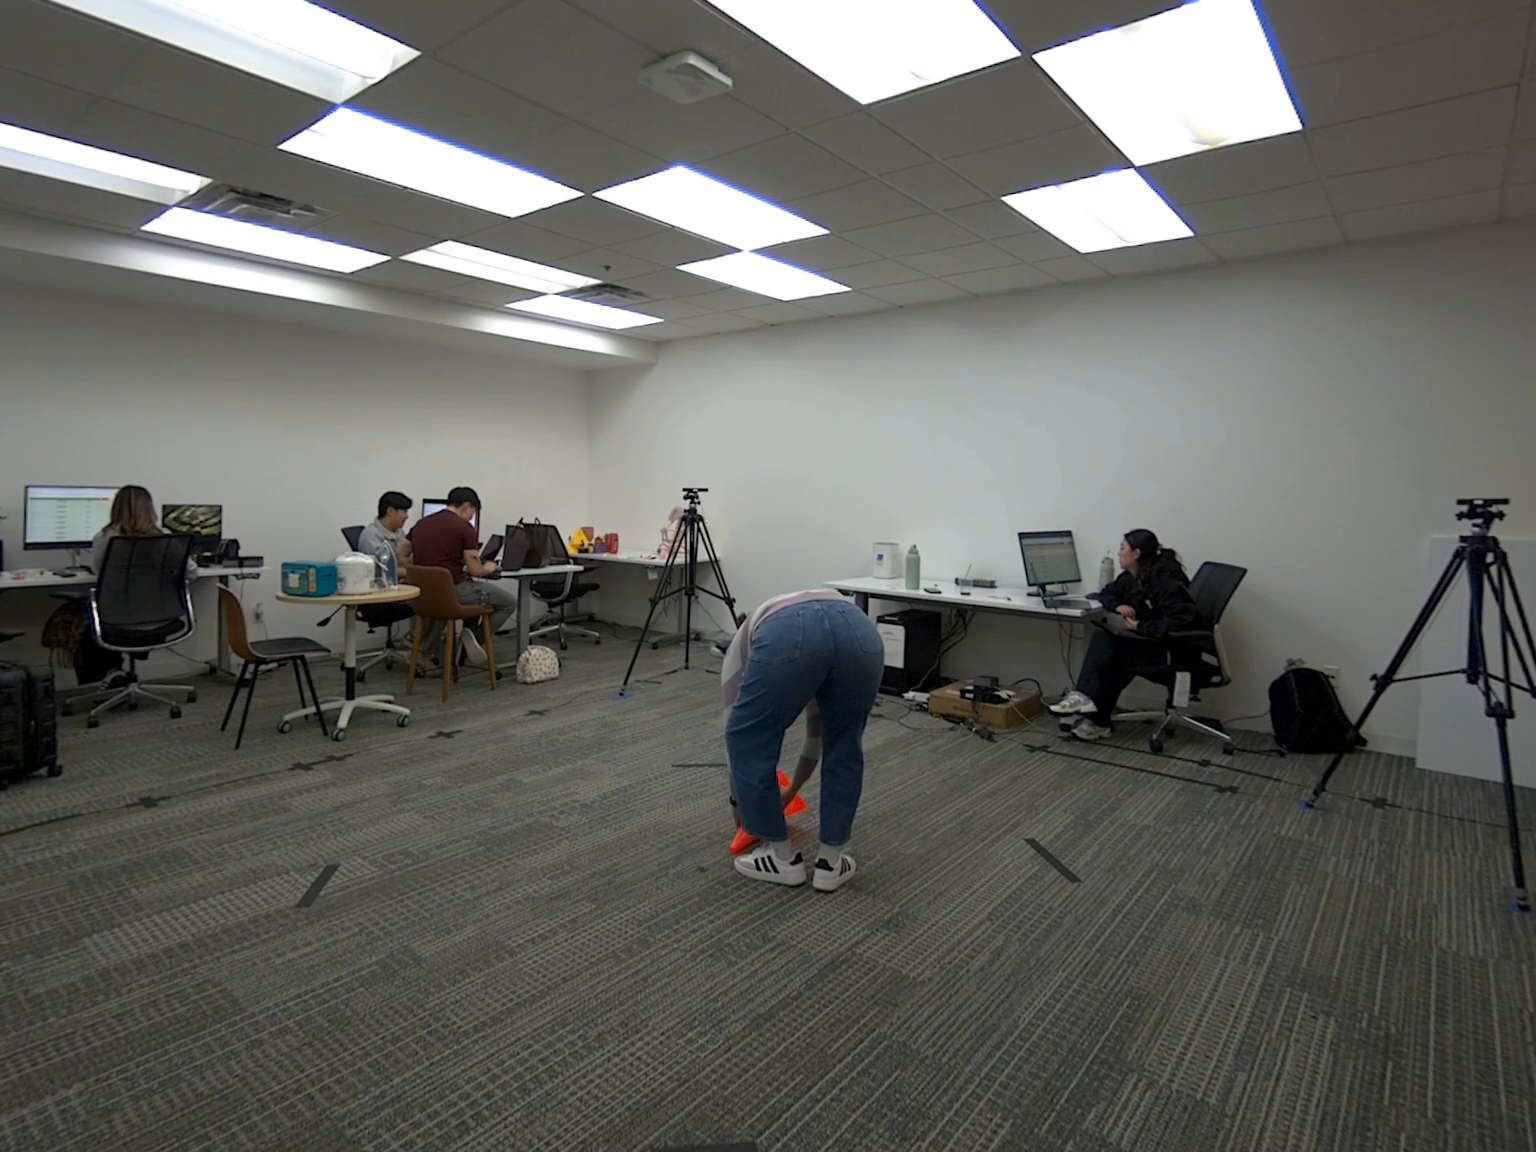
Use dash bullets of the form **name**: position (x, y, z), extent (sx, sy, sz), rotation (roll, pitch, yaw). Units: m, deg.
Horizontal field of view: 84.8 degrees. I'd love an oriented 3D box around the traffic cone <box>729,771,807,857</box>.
- **traffic cone**: position (-0.053, 0.981, 3.395), extent (0.207, 0.203, 0.381), rotation (-35, 3, 36)
